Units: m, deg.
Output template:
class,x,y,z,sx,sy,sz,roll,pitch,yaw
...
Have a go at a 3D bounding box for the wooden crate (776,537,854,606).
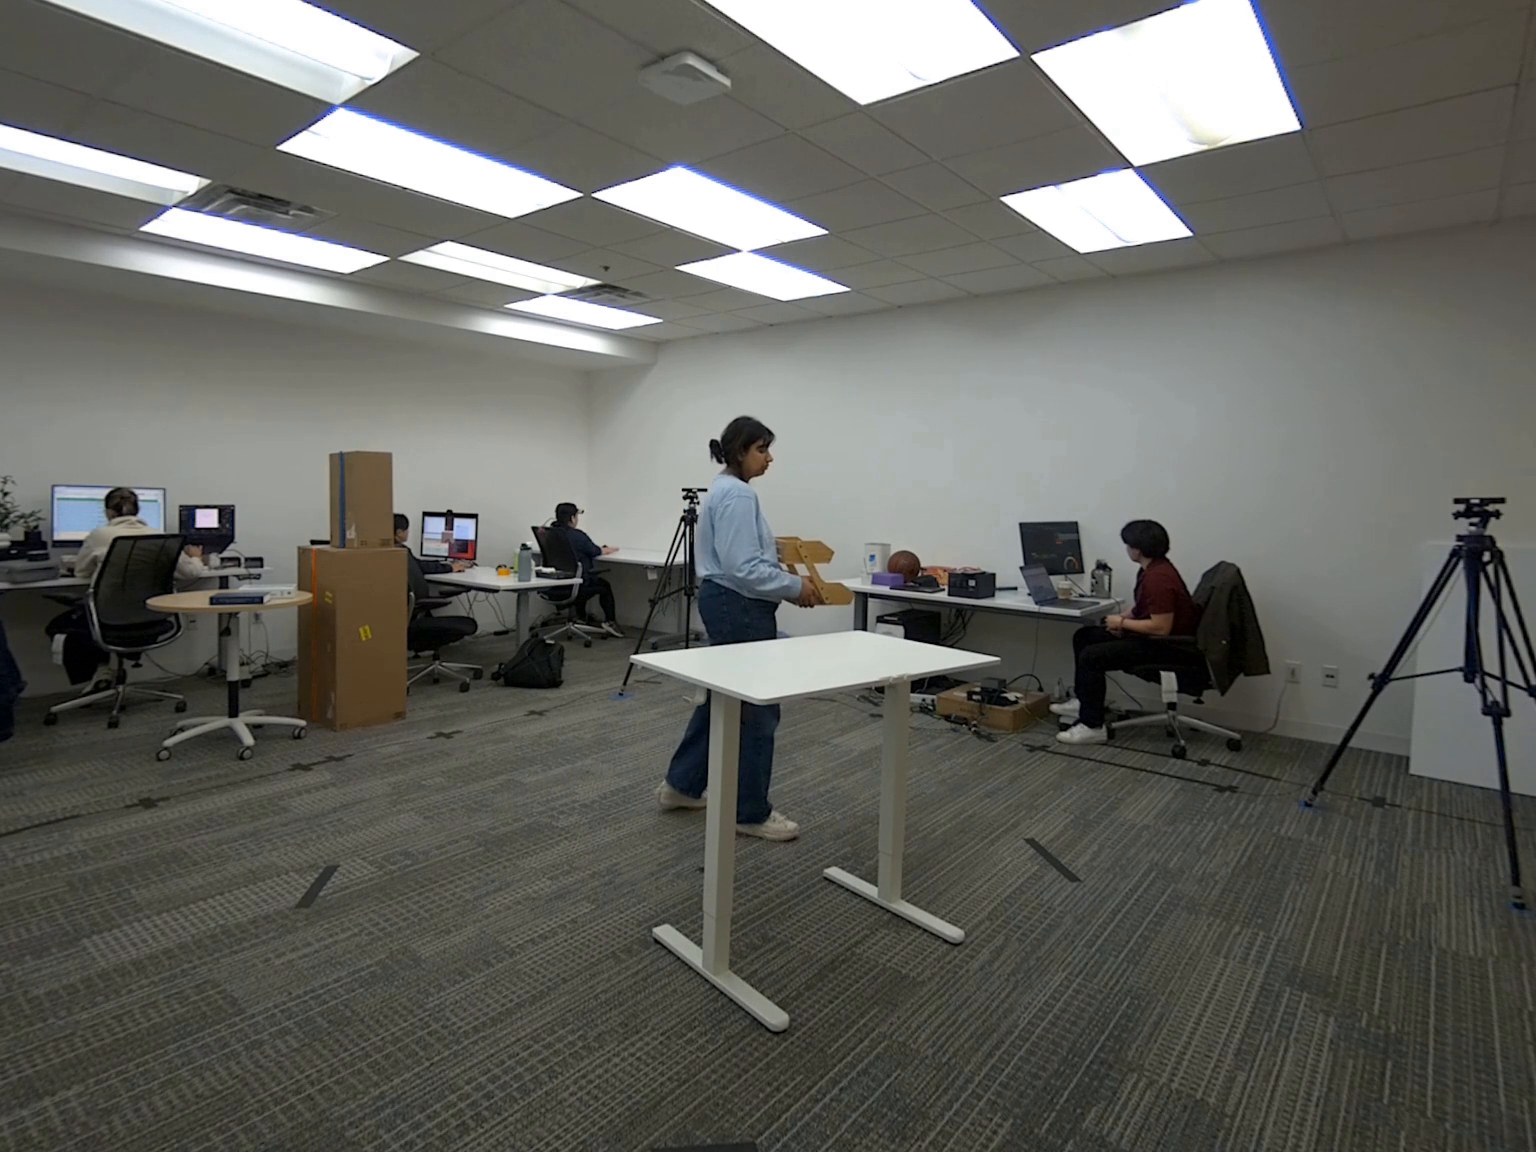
class,x,y,z,sx,sy,sz,roll,pitch,yaw
wooden crate,0.164,-0.029,3.559,0.299,0.272,0.329,-1,5,-11
